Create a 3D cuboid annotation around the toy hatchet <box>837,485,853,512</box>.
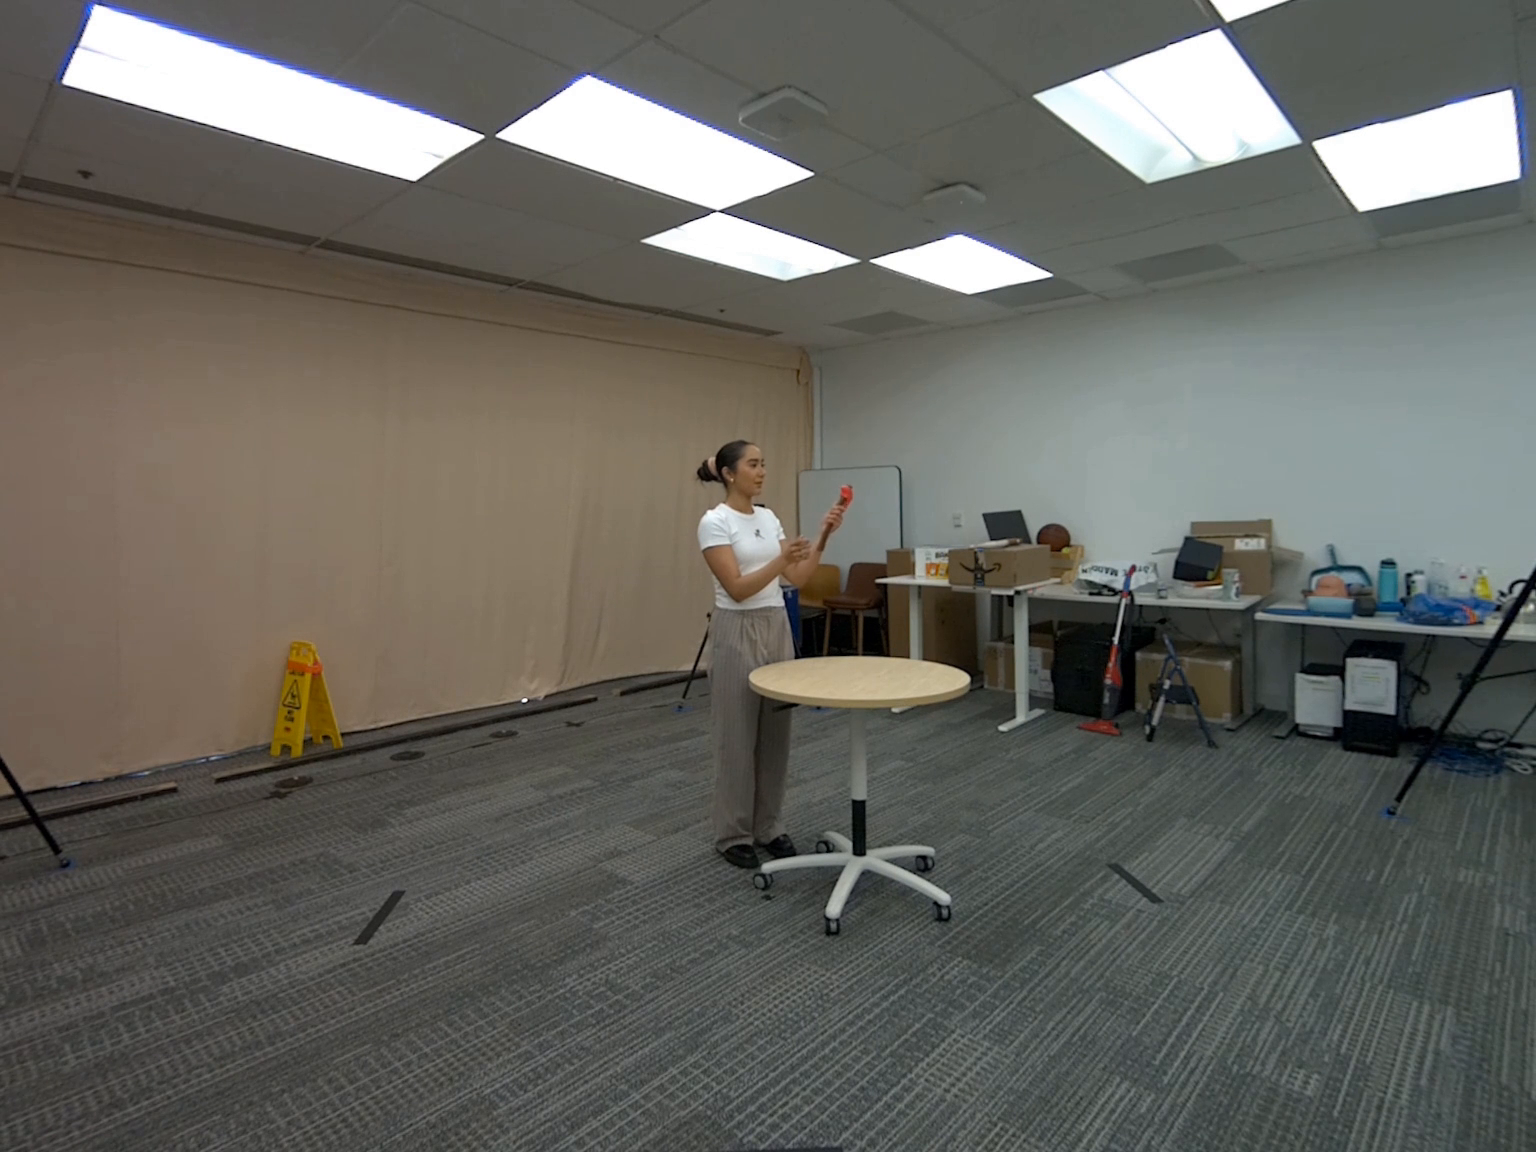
[{"bbox_3d":[0.265,-0.224,3.232,0.030,0.269,0.128,27,14,22],"label":"toy hatchet"}]
